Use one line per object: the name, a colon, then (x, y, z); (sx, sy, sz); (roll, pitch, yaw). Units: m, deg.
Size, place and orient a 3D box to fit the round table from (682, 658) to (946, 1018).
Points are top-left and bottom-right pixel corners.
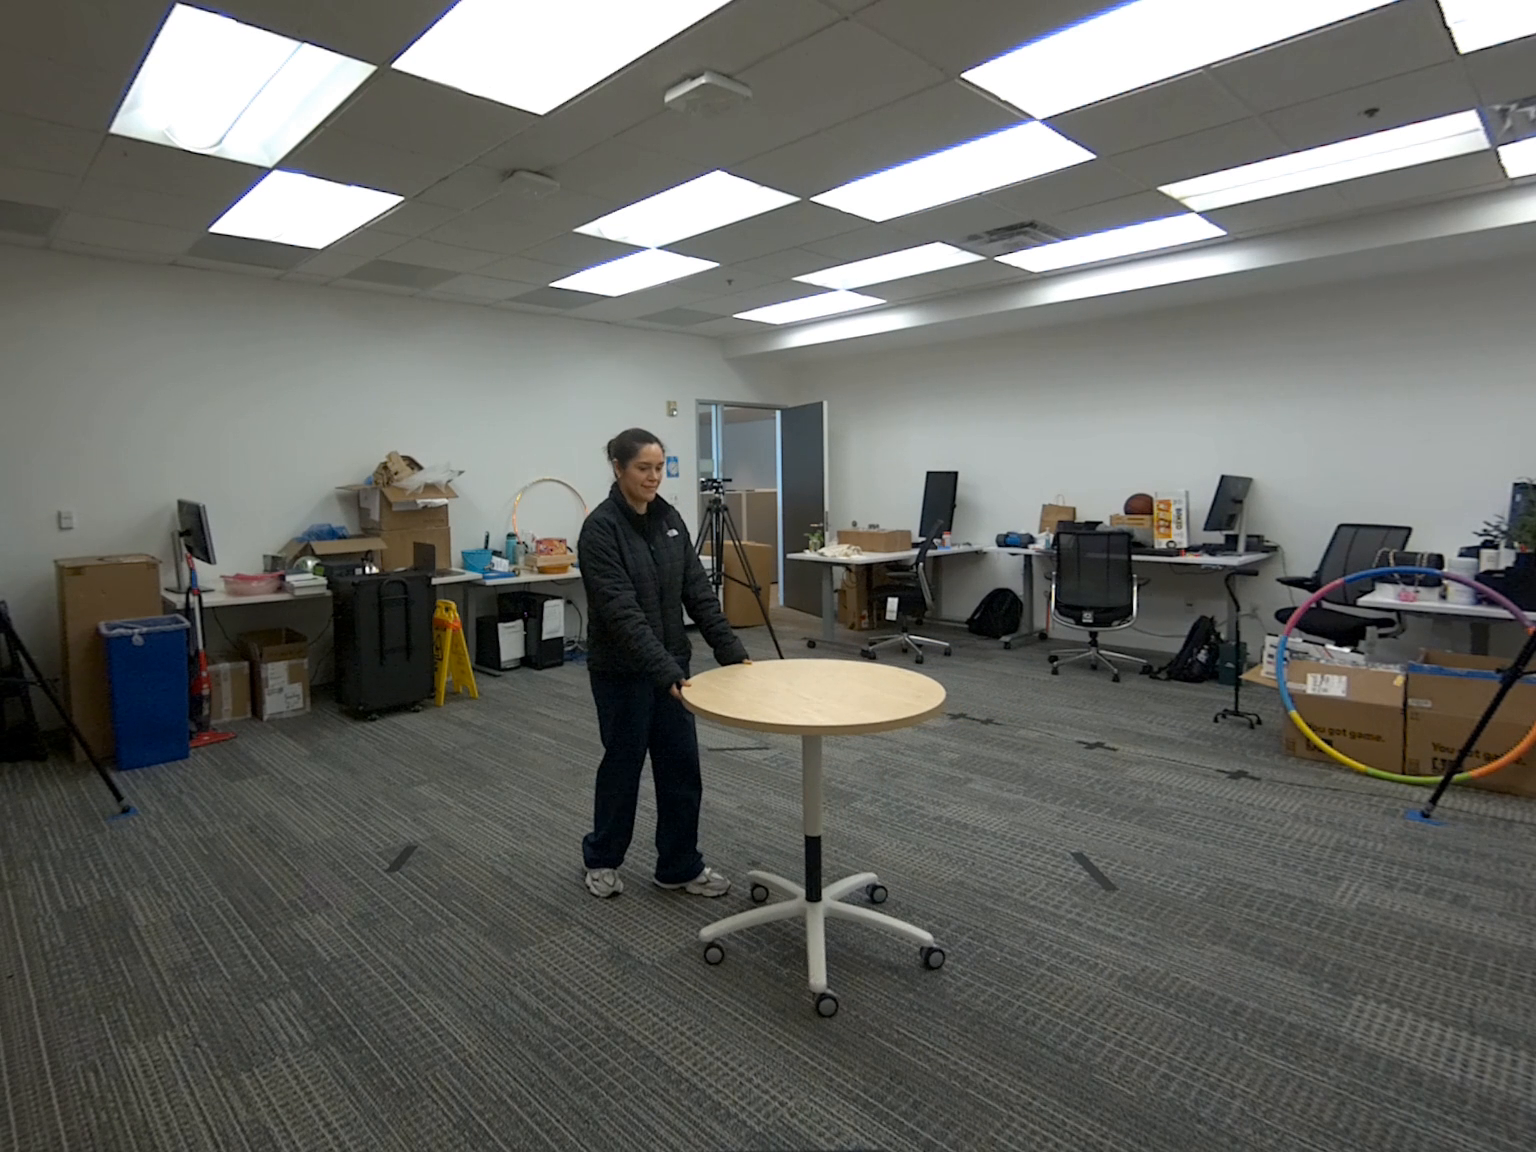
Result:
round table: (0.136, 0.710, 2.559); (0.784, 0.783, 0.790); (-1, 6, -2)
